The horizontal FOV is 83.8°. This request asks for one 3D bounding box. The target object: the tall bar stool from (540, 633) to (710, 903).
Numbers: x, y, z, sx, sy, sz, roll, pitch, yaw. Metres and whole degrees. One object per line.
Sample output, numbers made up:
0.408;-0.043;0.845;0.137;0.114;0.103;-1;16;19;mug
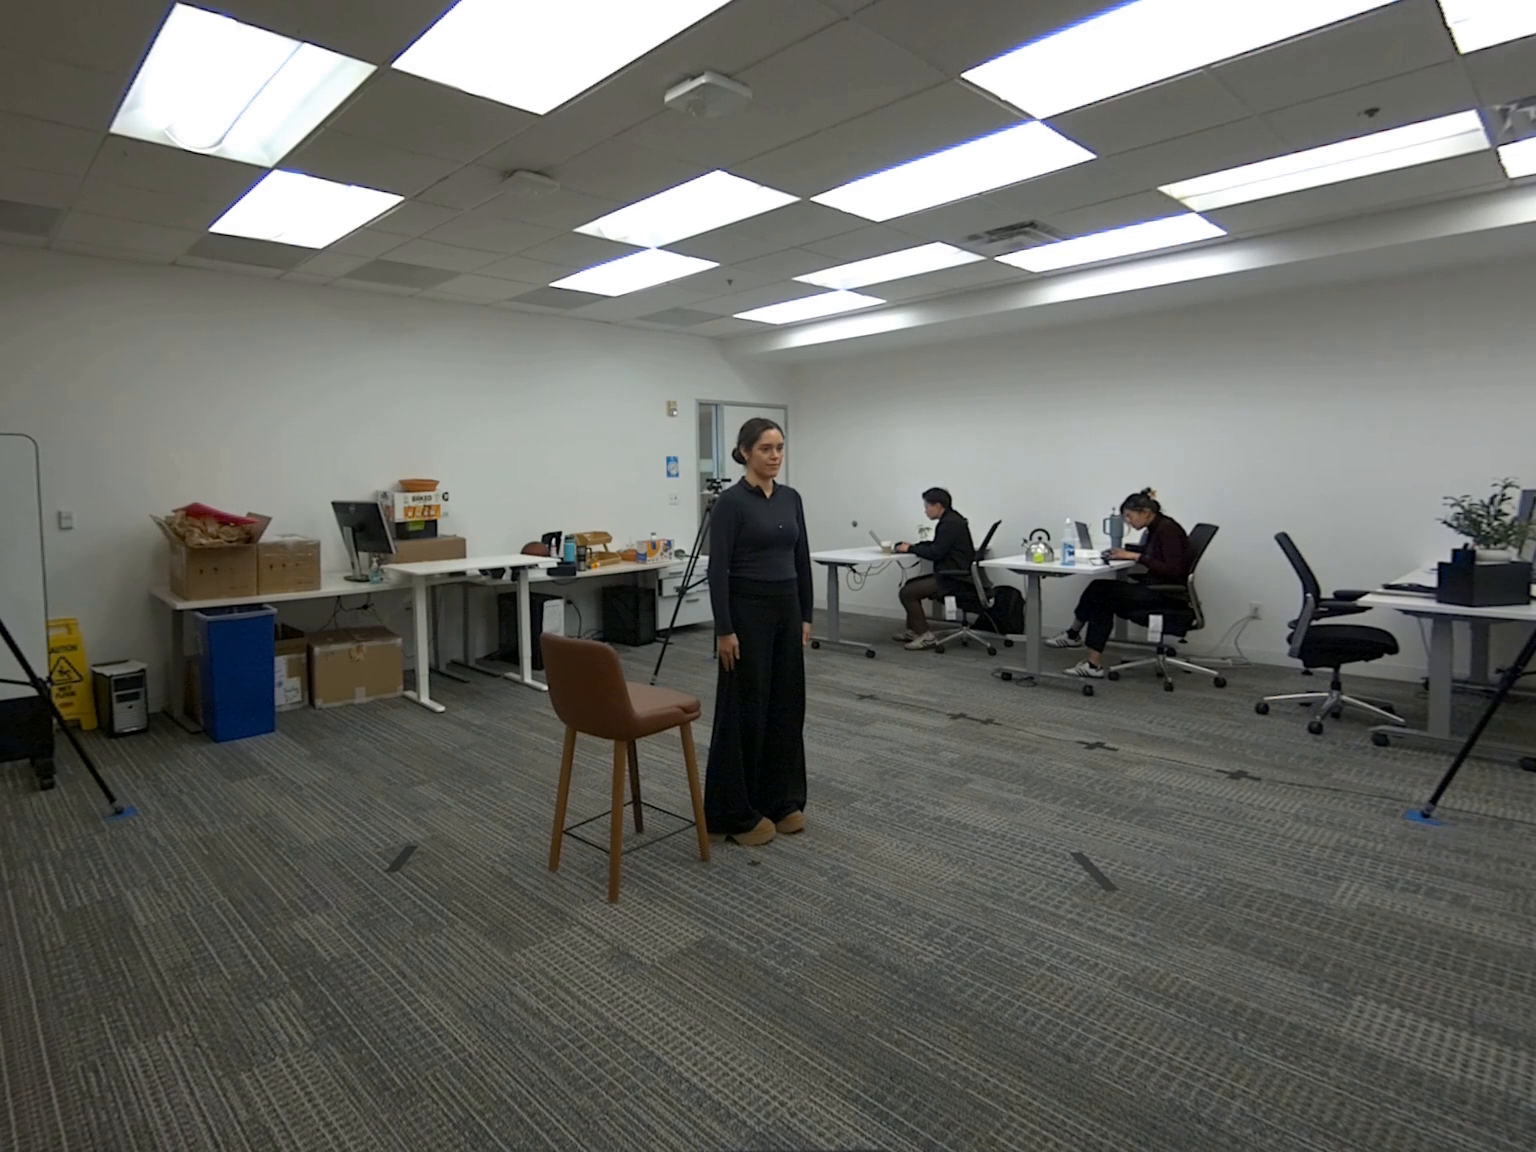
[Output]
-0.522;0.620;3.081;0.470;0.885;0.456;3;8;43;tall bar stool
